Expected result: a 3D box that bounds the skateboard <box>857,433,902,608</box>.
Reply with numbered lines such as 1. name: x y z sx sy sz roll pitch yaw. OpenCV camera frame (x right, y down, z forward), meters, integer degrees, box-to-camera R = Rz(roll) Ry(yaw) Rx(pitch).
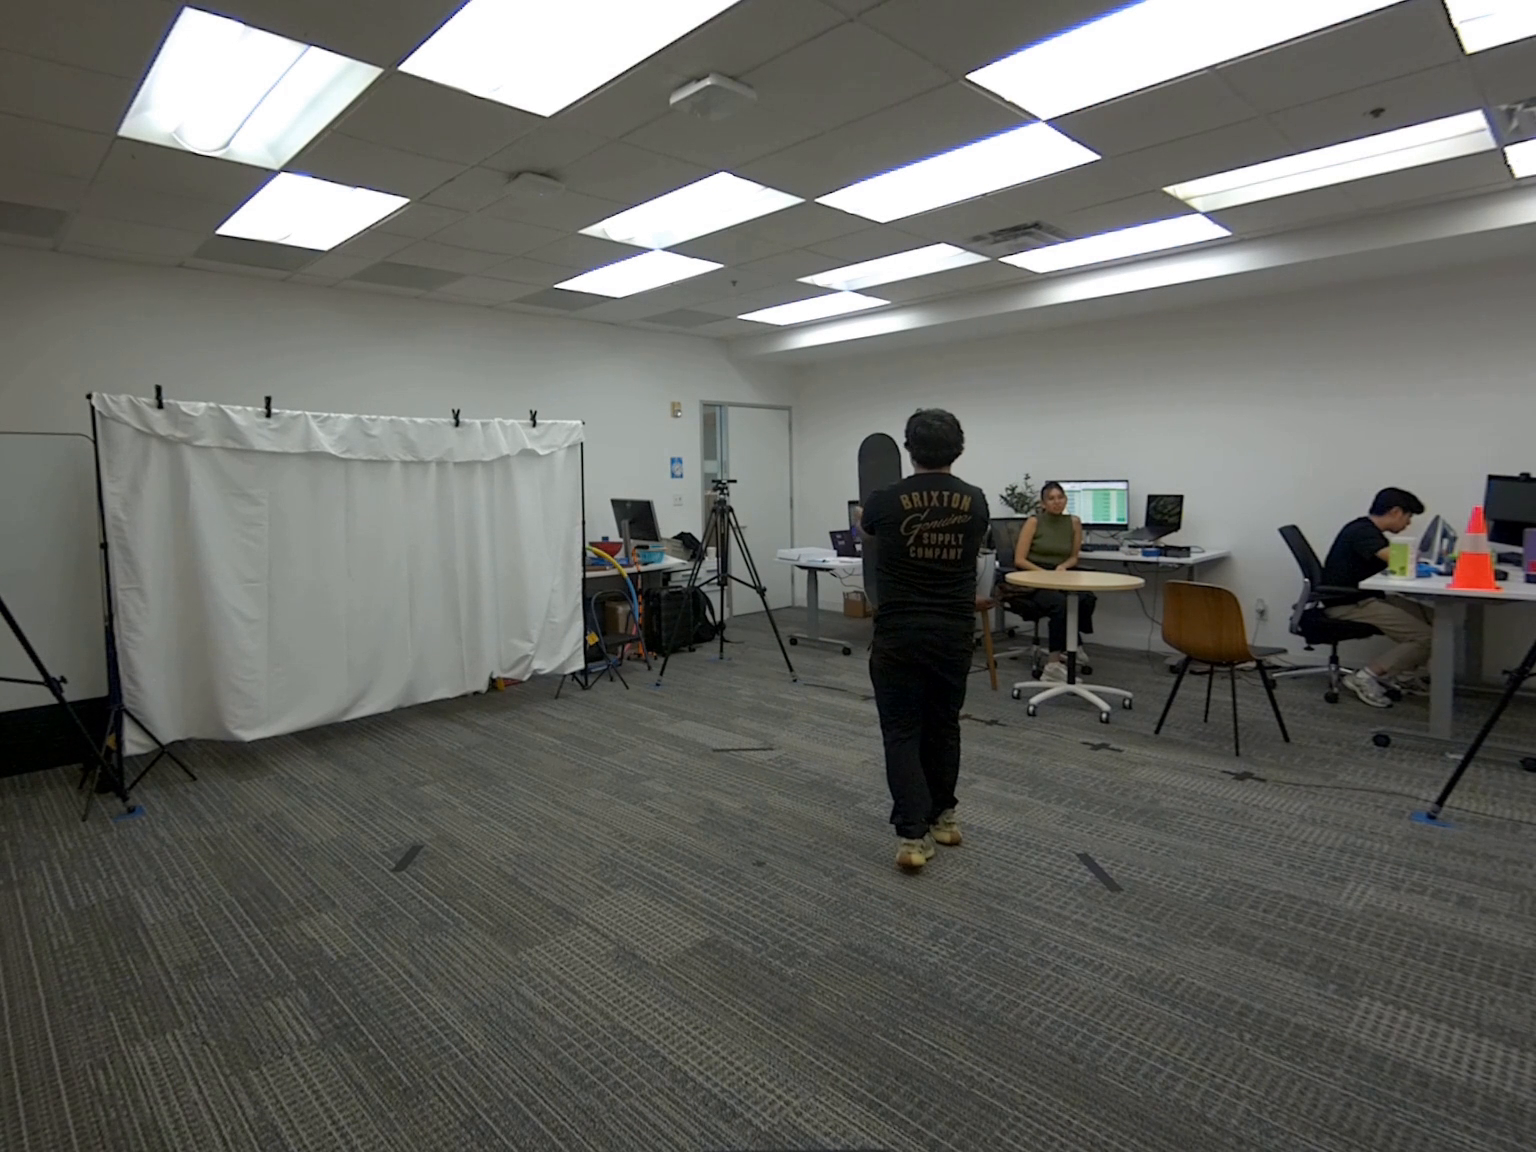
1. skateboard: 0.499 -0.234 3.706 0.196 0.797 0.107 -6 -16 16
